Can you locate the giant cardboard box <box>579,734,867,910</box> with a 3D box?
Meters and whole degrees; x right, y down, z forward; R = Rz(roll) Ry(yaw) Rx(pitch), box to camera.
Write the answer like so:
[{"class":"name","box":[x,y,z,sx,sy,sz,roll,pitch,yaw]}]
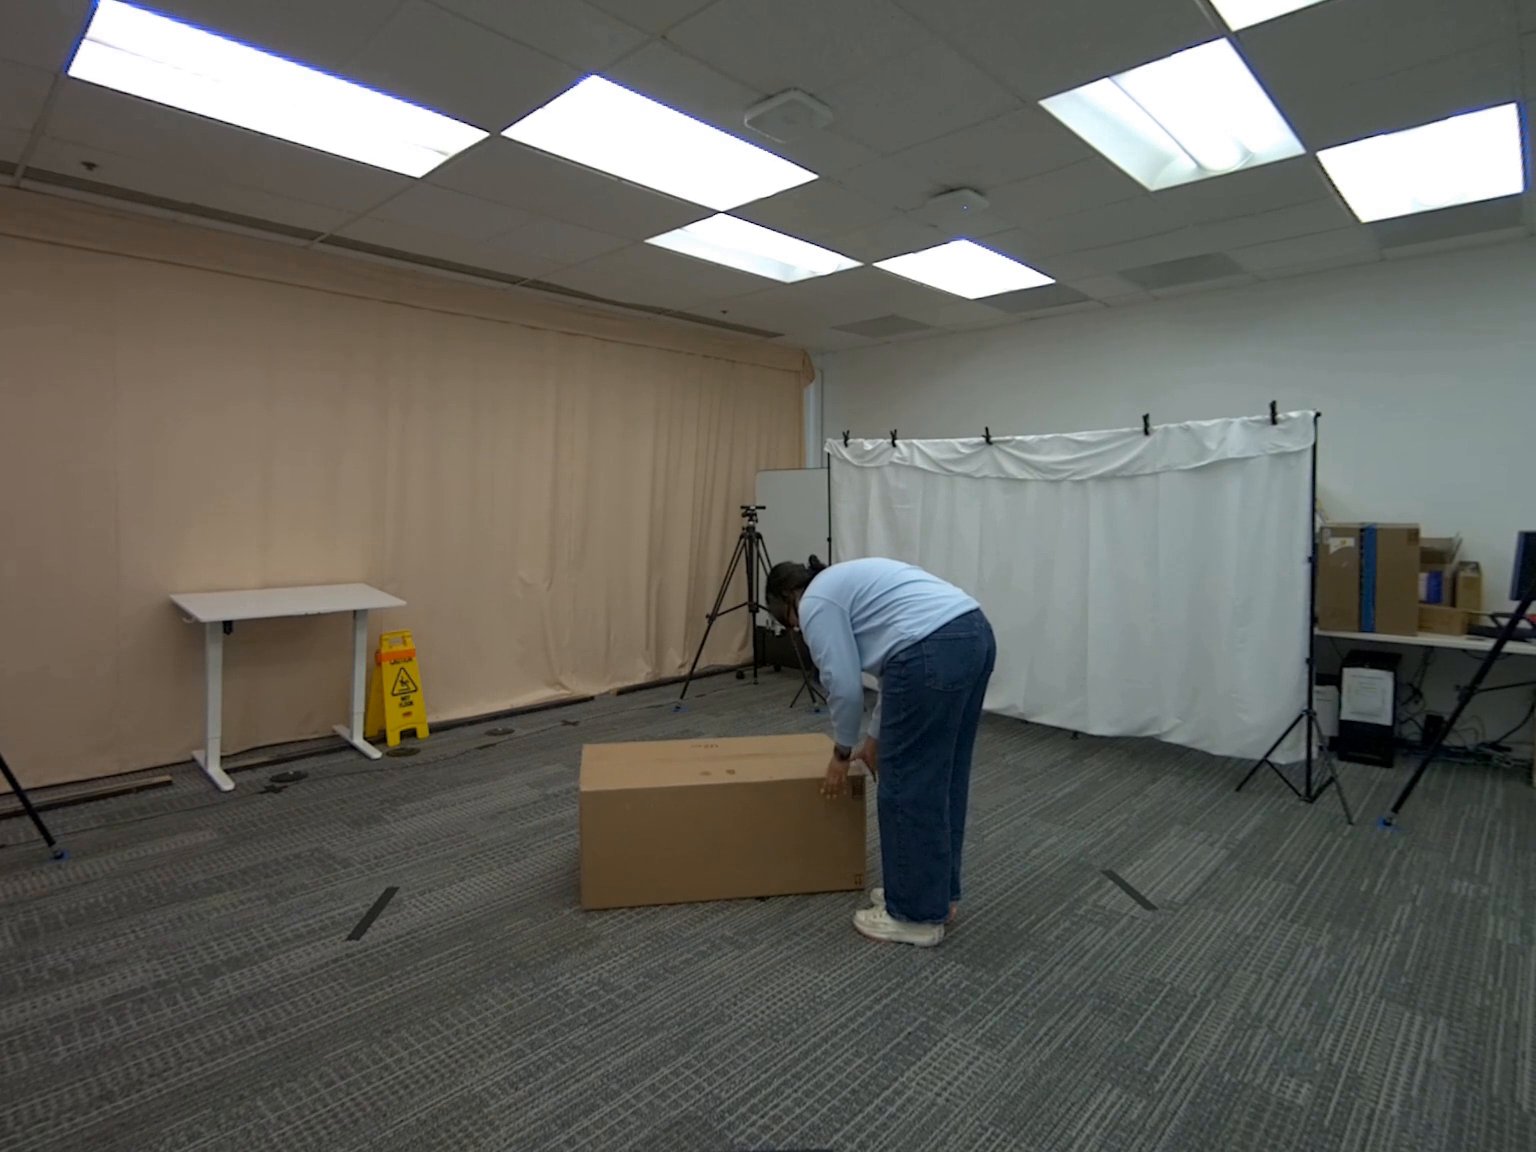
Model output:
[{"class":"giant cardboard box","box":[-0.205,0.909,3.243,1.016,0.425,0.584,-1,4,-9]}]
